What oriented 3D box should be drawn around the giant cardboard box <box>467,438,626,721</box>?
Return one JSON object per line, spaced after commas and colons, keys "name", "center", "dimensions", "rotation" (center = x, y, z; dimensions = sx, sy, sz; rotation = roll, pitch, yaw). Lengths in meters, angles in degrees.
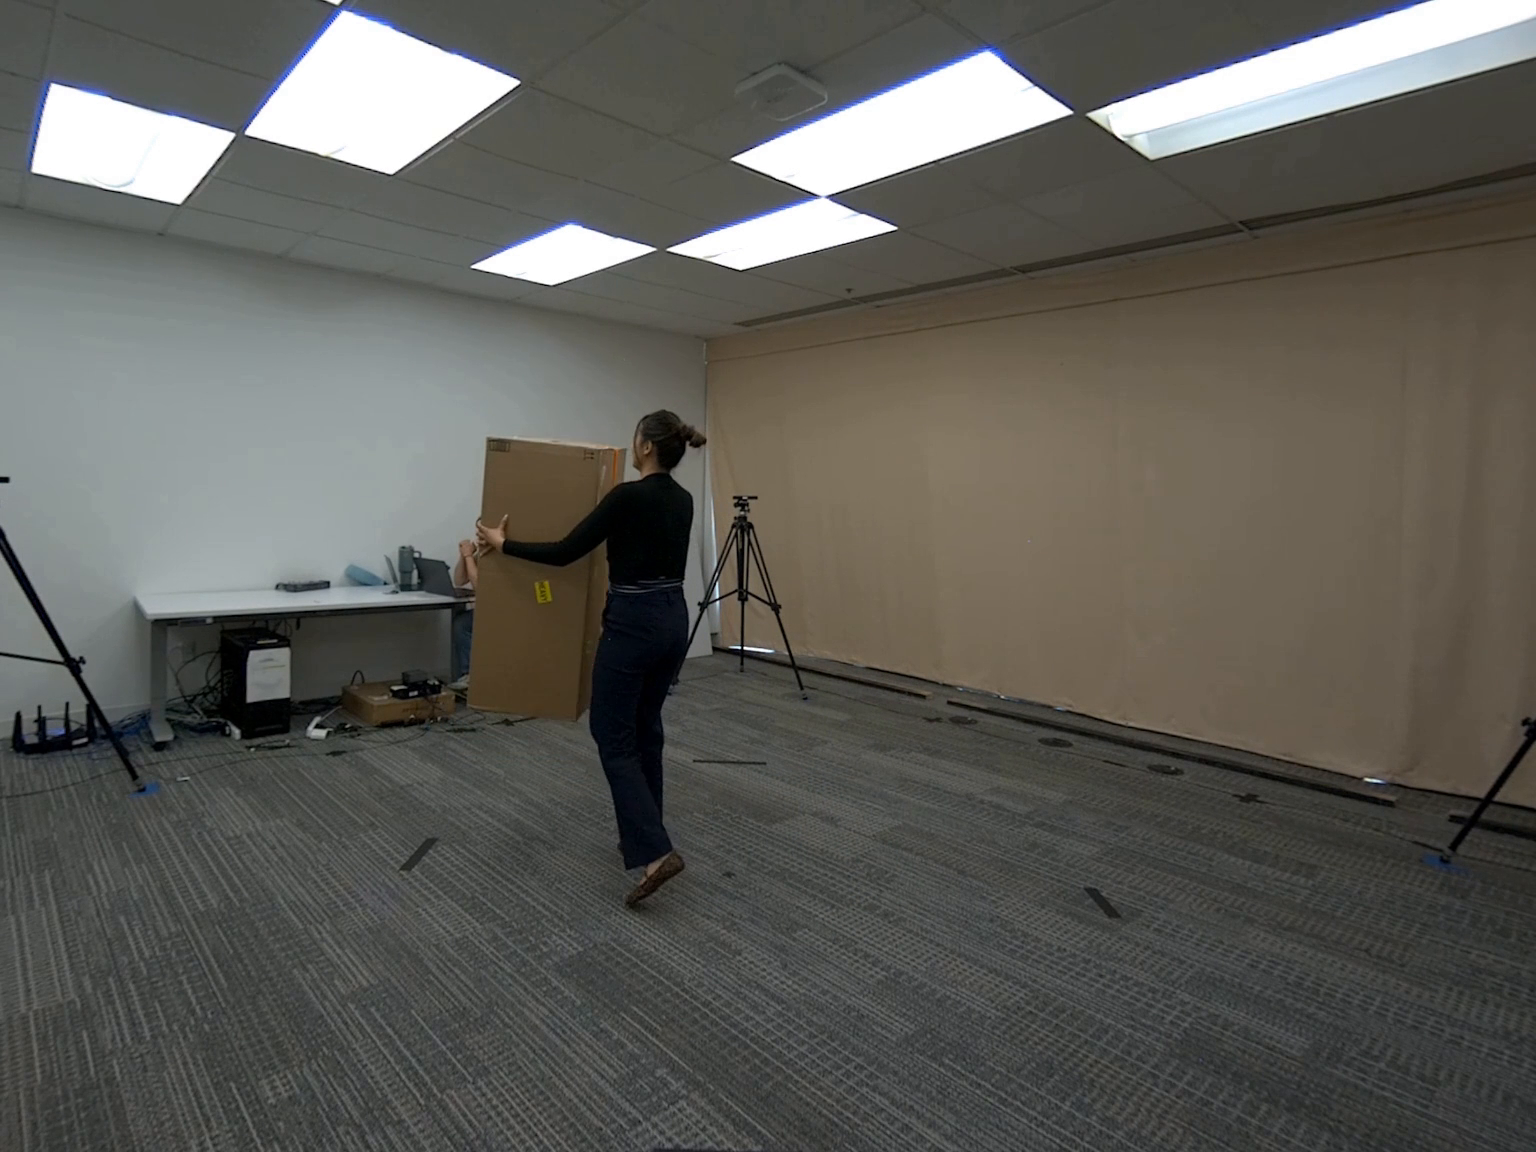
{"name": "giant cardboard box", "center": [-0.871, -0.023, 3.377], "dimensions": [0.427, 1.021, 0.580], "rotation": [6, 7, 0]}
